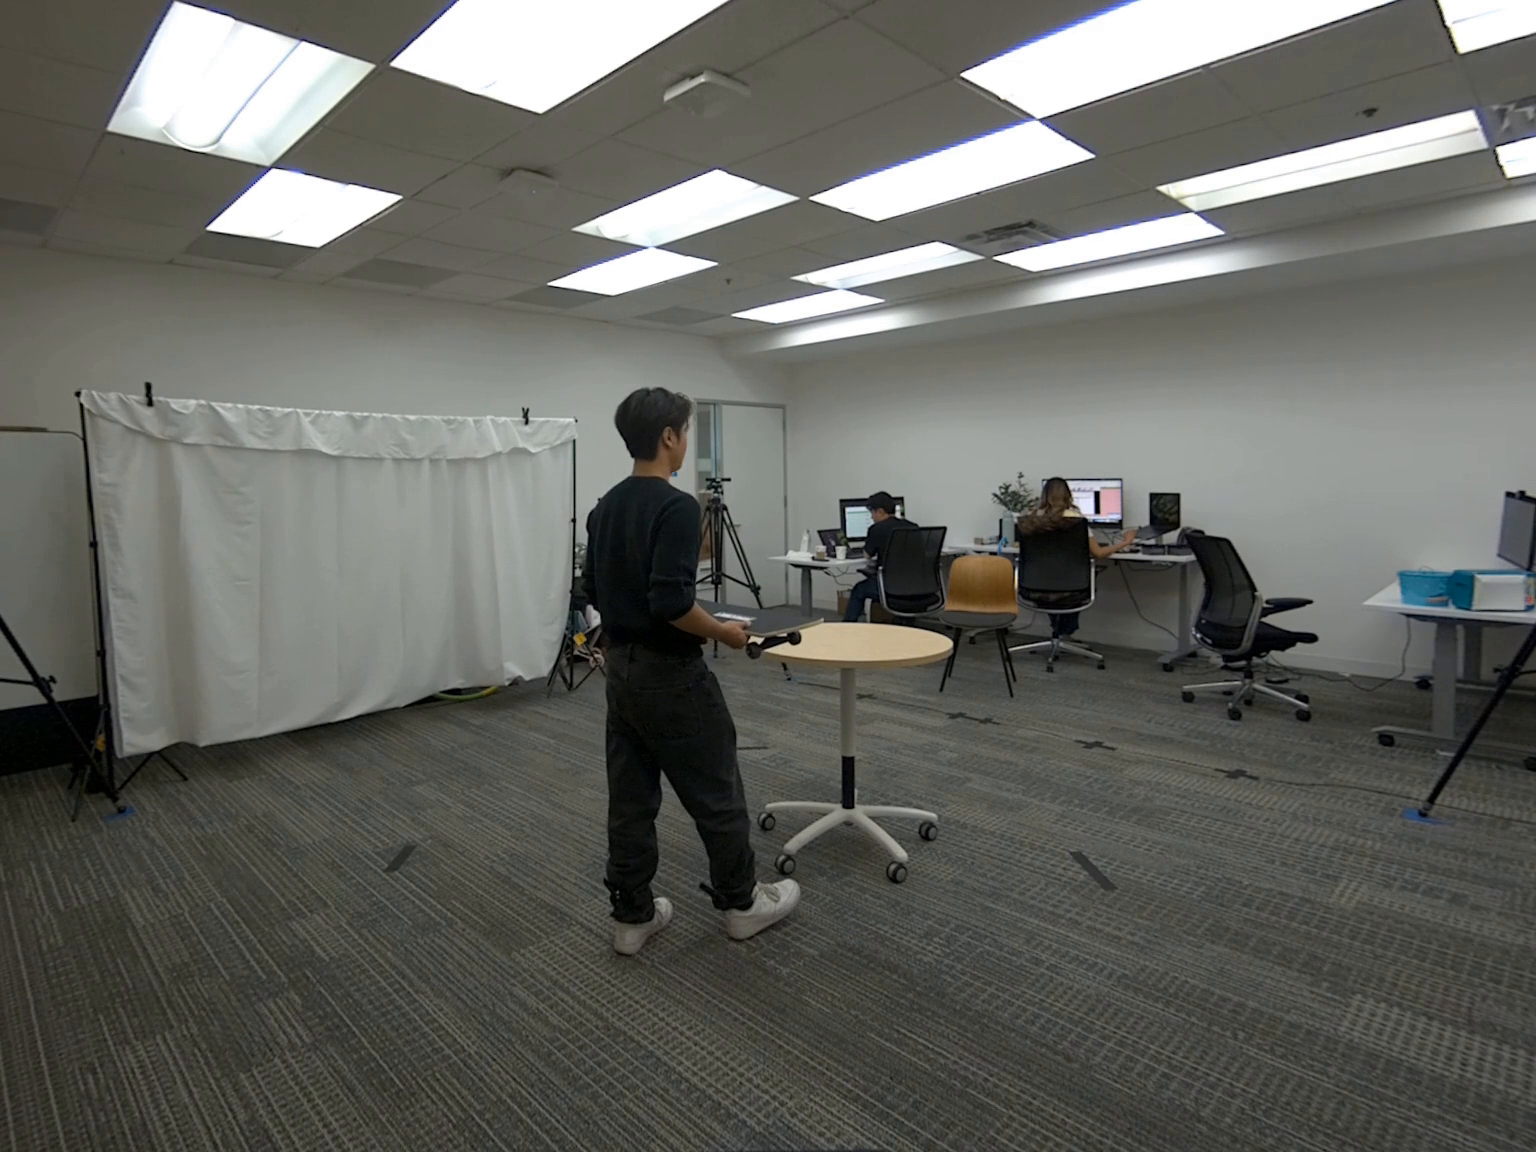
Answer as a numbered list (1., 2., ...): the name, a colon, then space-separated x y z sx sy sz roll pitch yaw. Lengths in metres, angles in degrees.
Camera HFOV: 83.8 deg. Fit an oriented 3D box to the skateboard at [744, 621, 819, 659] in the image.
1. skateboard: -0.091 0.167 2.711 0.189 0.109 0.808 -15 12 -36
